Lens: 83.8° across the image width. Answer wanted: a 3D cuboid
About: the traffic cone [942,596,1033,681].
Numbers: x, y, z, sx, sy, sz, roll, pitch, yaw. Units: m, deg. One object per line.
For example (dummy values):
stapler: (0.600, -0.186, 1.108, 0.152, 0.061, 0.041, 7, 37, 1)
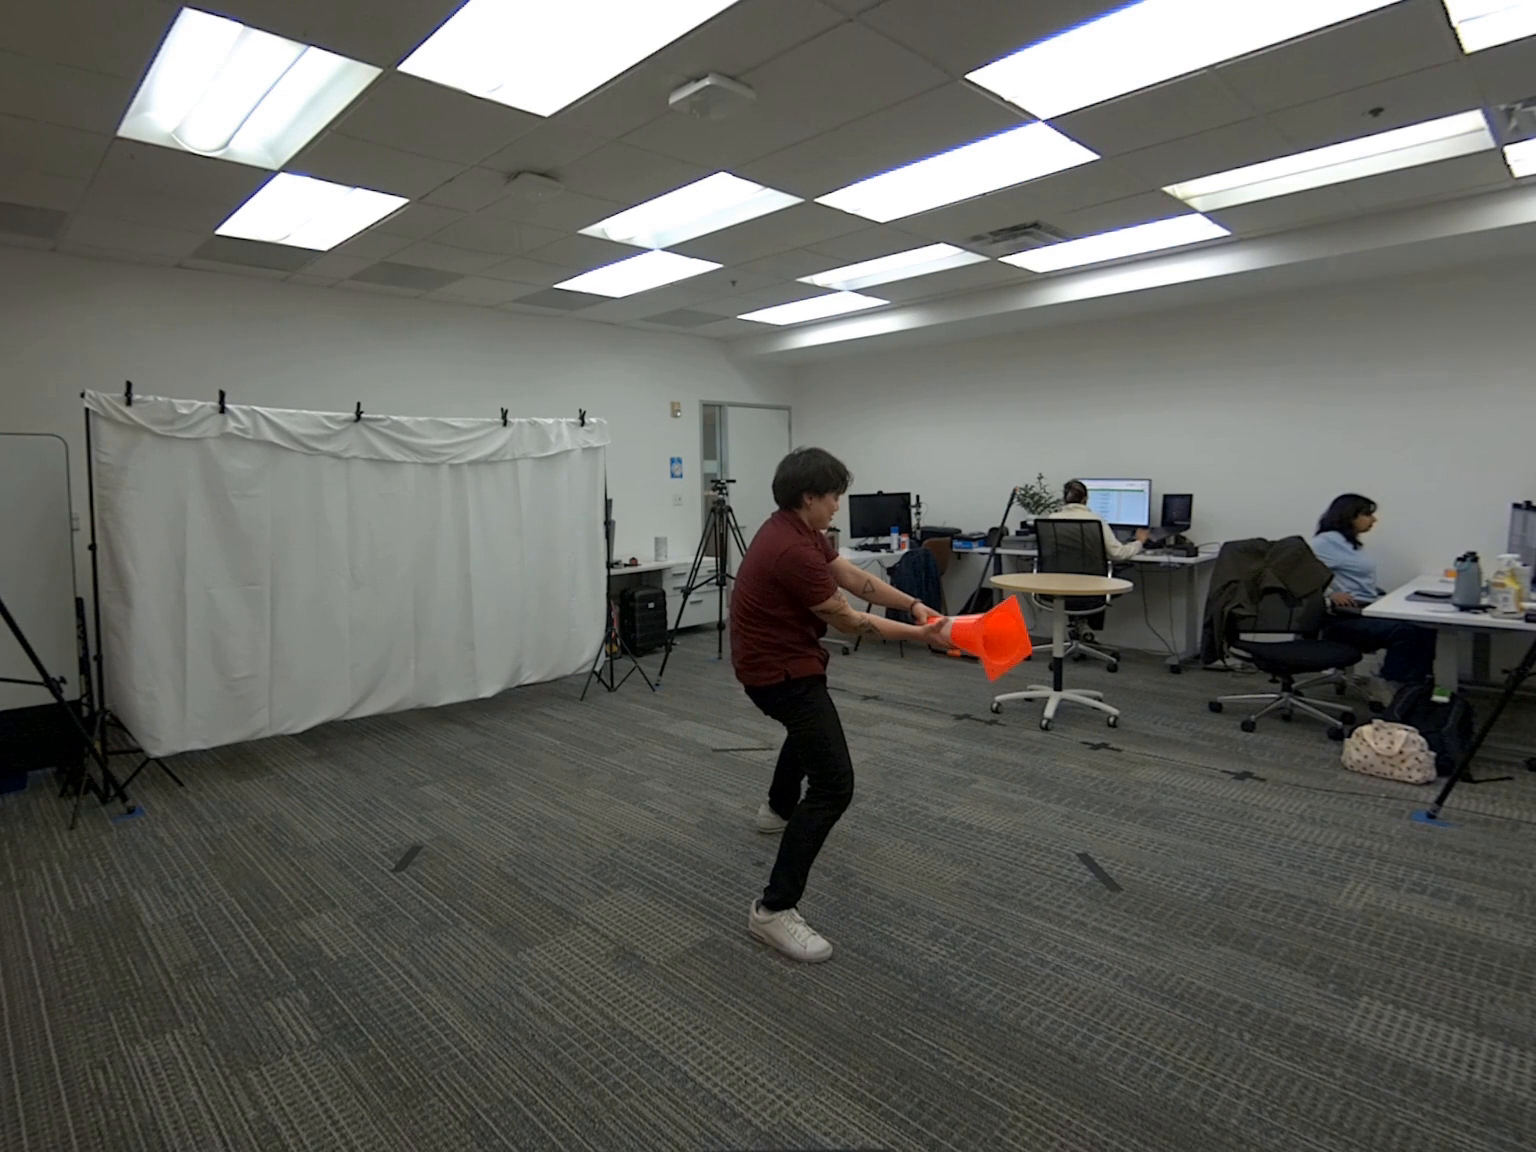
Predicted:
traffic cone: (0.610, 0.174, 2.732, 0.201, 0.202, 0.393, -27, 15, -24)
